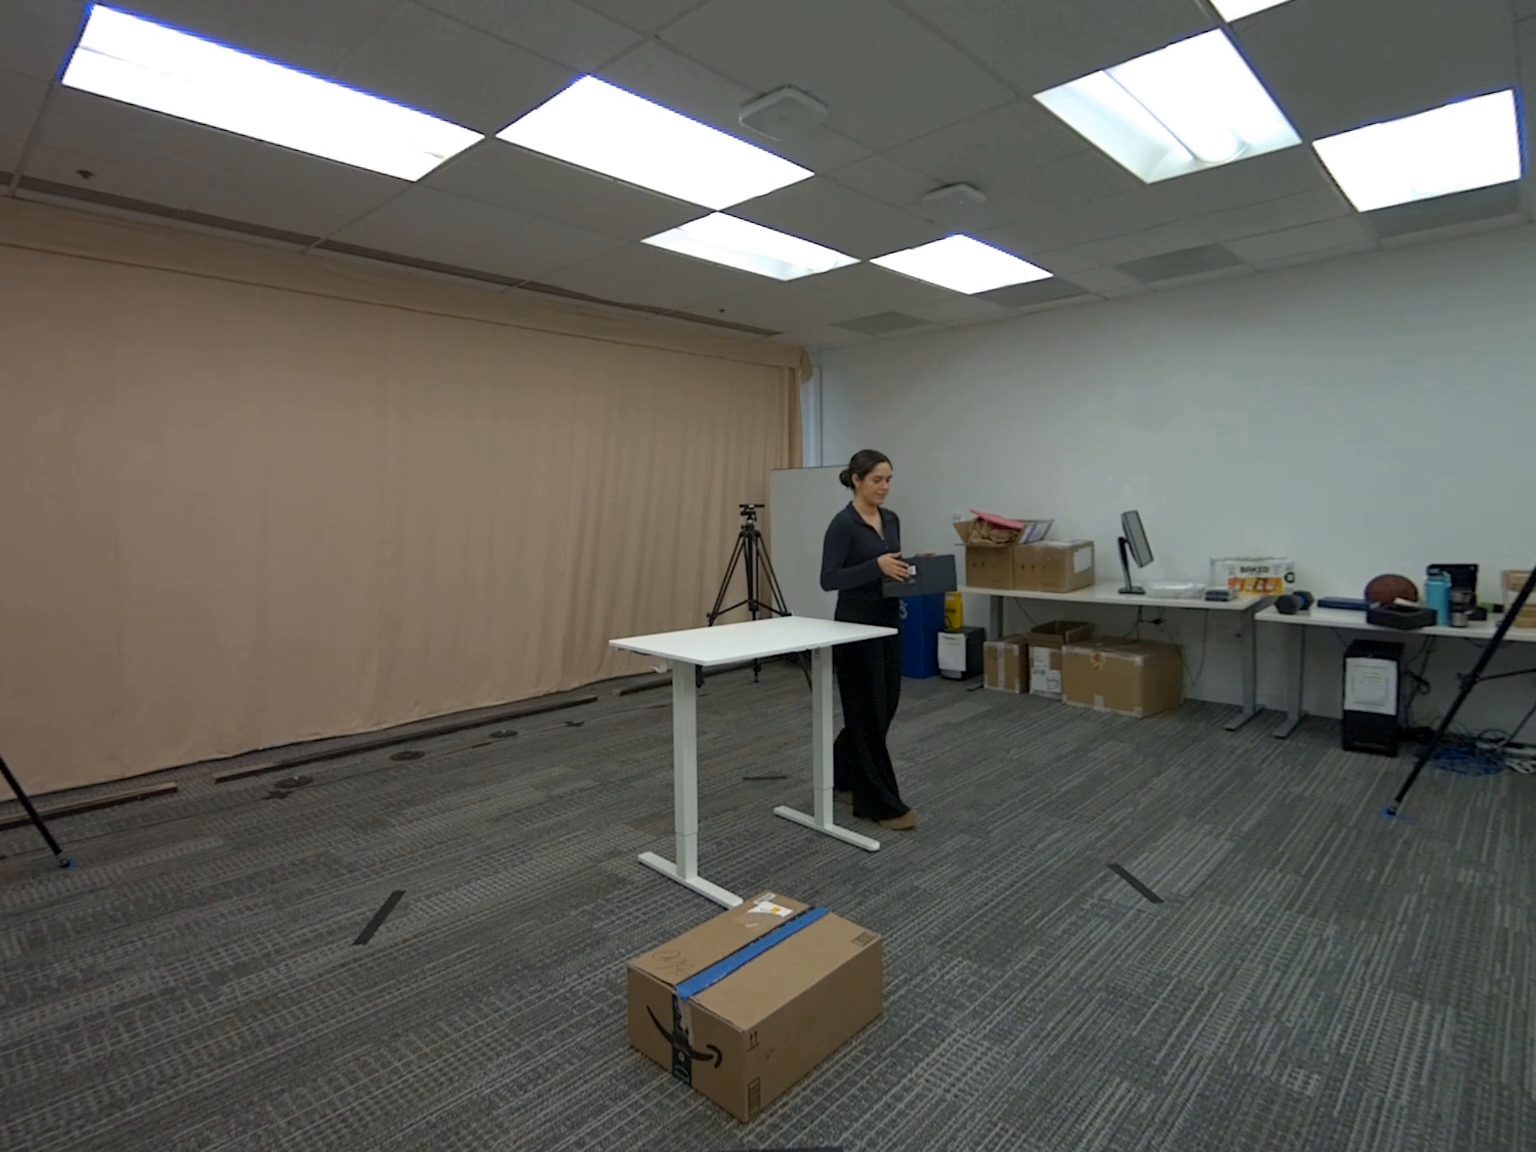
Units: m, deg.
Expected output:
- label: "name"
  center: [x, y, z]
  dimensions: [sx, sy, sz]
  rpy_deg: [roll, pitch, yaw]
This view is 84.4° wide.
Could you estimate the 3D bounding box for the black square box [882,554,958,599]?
- label: "black square box"
  center: [0.635, 0.003, 3.548]
  dimensions: [0.221, 0.156, 0.223]
  rpy_deg: [-5, 1, -40]
